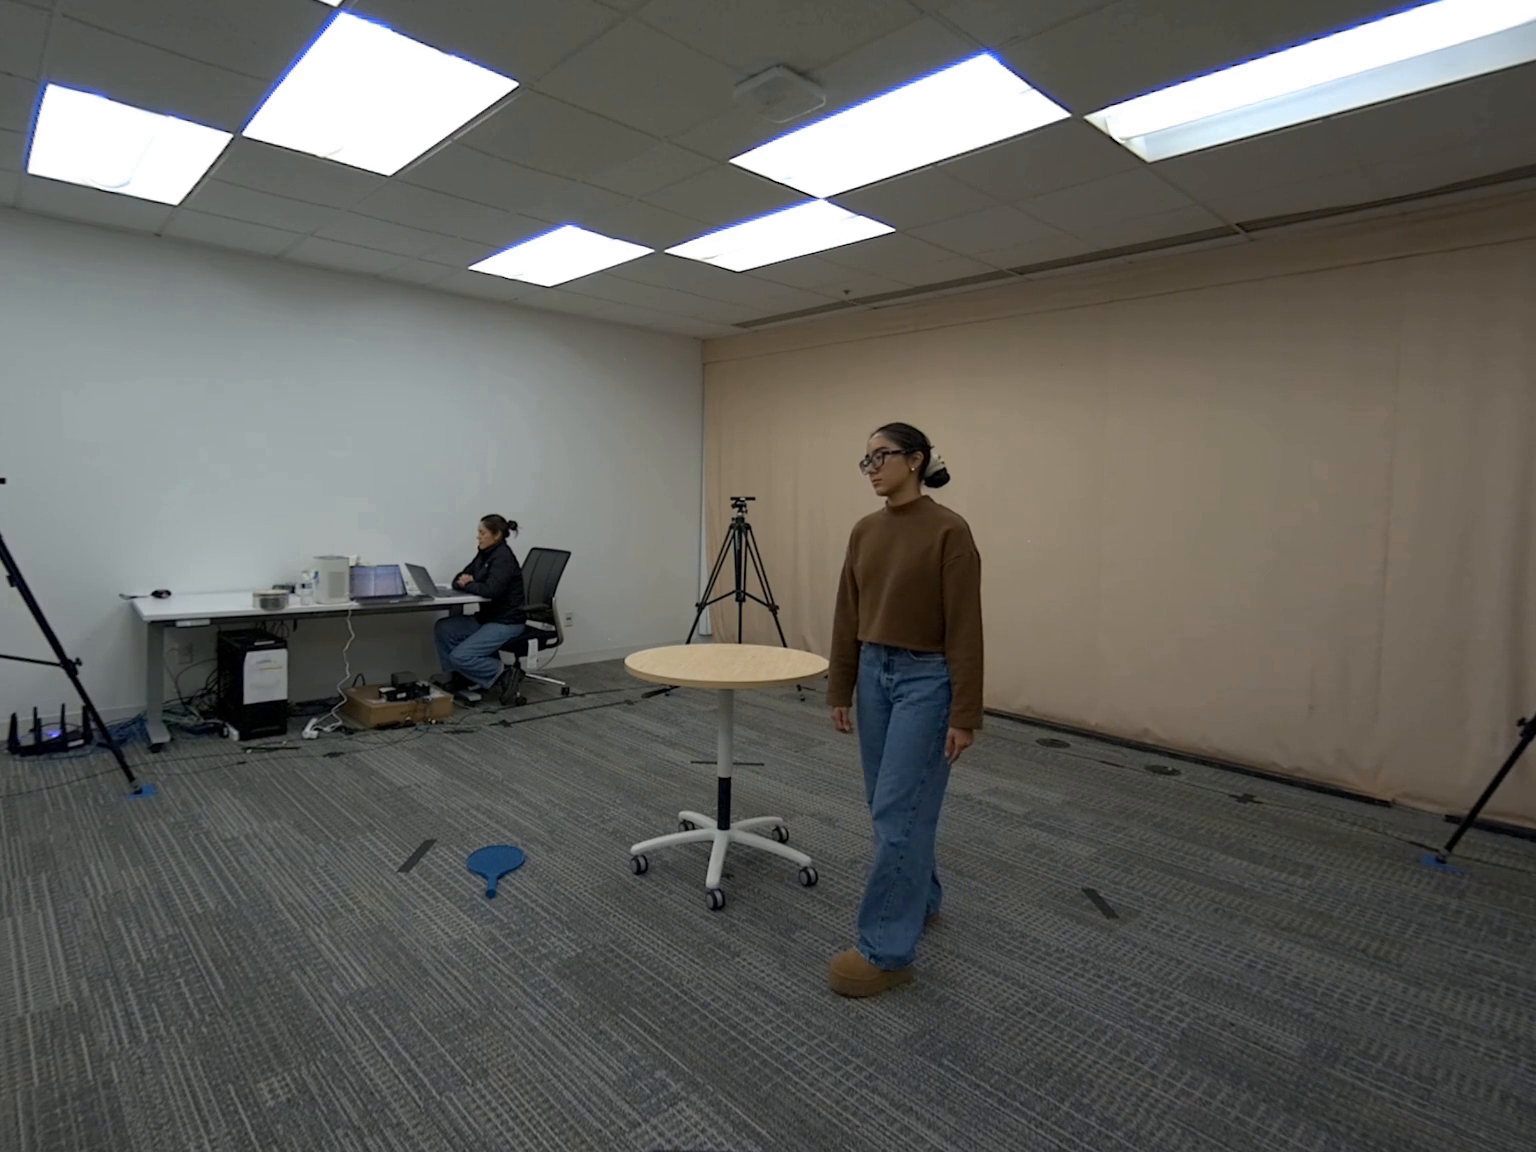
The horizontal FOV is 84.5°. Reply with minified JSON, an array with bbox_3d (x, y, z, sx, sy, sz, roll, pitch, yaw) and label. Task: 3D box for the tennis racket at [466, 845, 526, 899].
[{"bbox_3d":[-1.022,1.080,3.095,0.212,0.032,0.438,0,4,-12],"label":"tennis racket"}]
